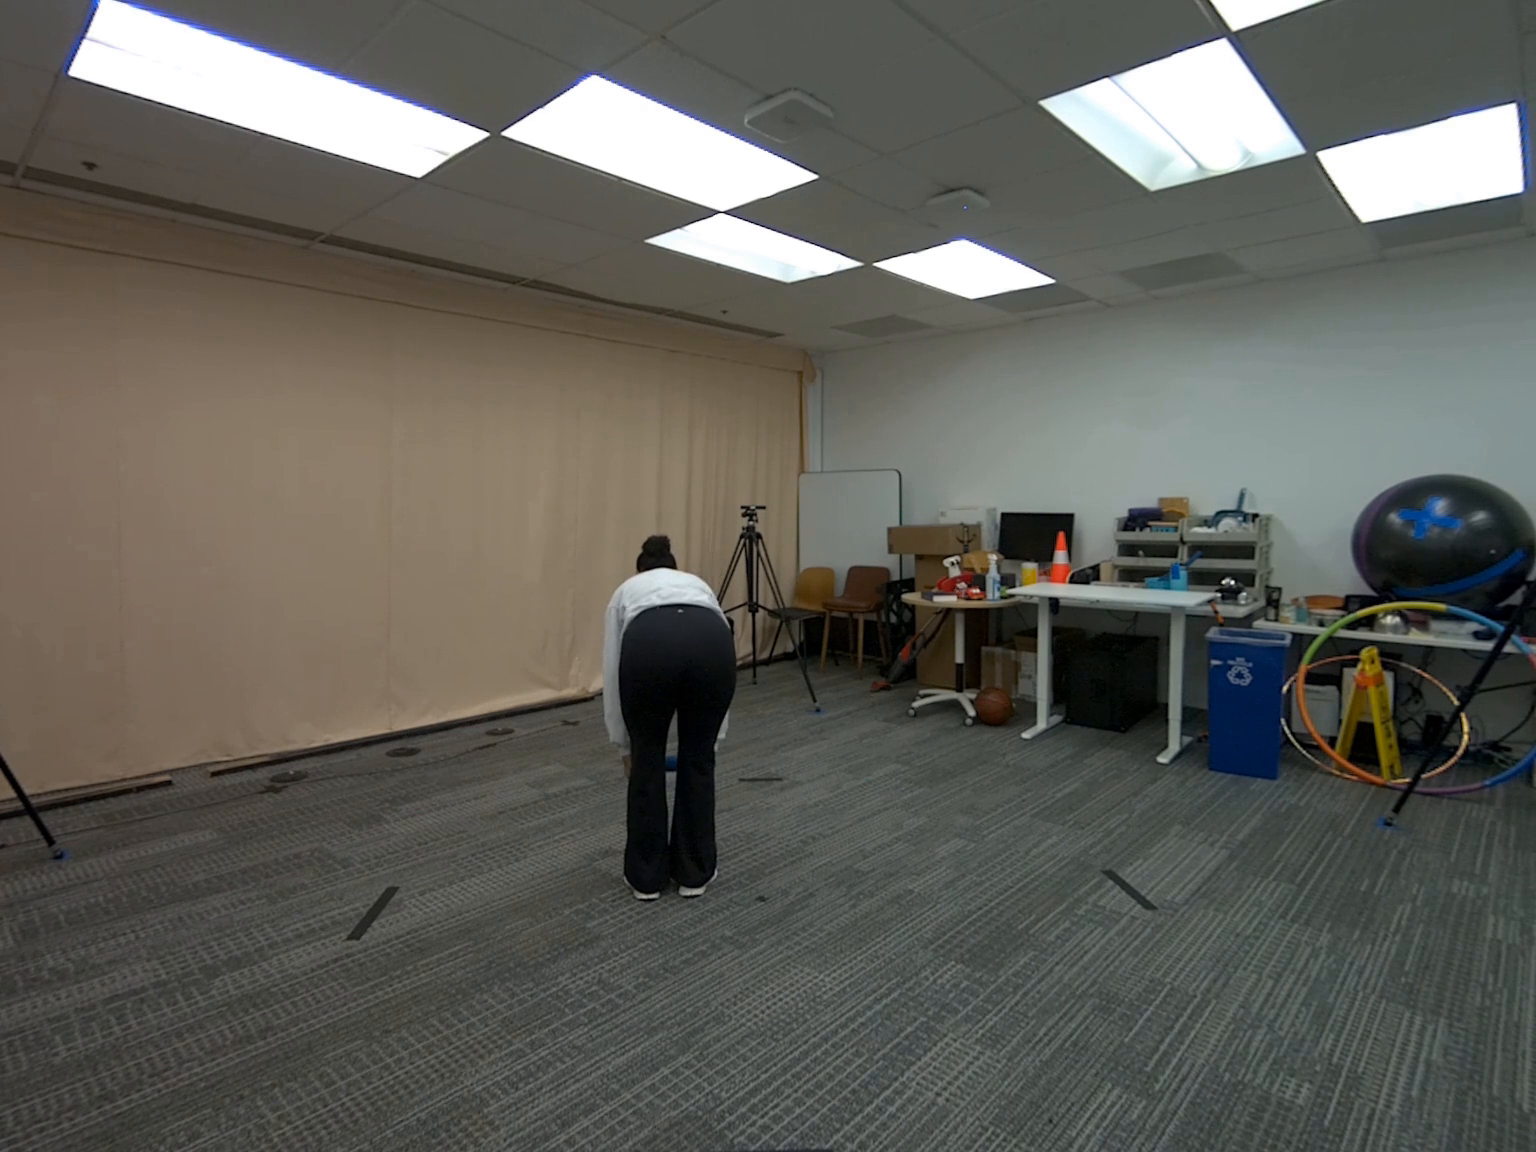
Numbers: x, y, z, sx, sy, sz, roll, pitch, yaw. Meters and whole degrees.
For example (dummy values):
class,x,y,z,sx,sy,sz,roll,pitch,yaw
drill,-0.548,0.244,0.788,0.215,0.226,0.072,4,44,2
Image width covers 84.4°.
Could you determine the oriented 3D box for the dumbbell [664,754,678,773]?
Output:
class,x,y,z,sx,sy,sz,roll,pitch,yaw
dumbbell,-0.384,0.731,3.183,0.293,0.110,0.121,7,-40,-2
